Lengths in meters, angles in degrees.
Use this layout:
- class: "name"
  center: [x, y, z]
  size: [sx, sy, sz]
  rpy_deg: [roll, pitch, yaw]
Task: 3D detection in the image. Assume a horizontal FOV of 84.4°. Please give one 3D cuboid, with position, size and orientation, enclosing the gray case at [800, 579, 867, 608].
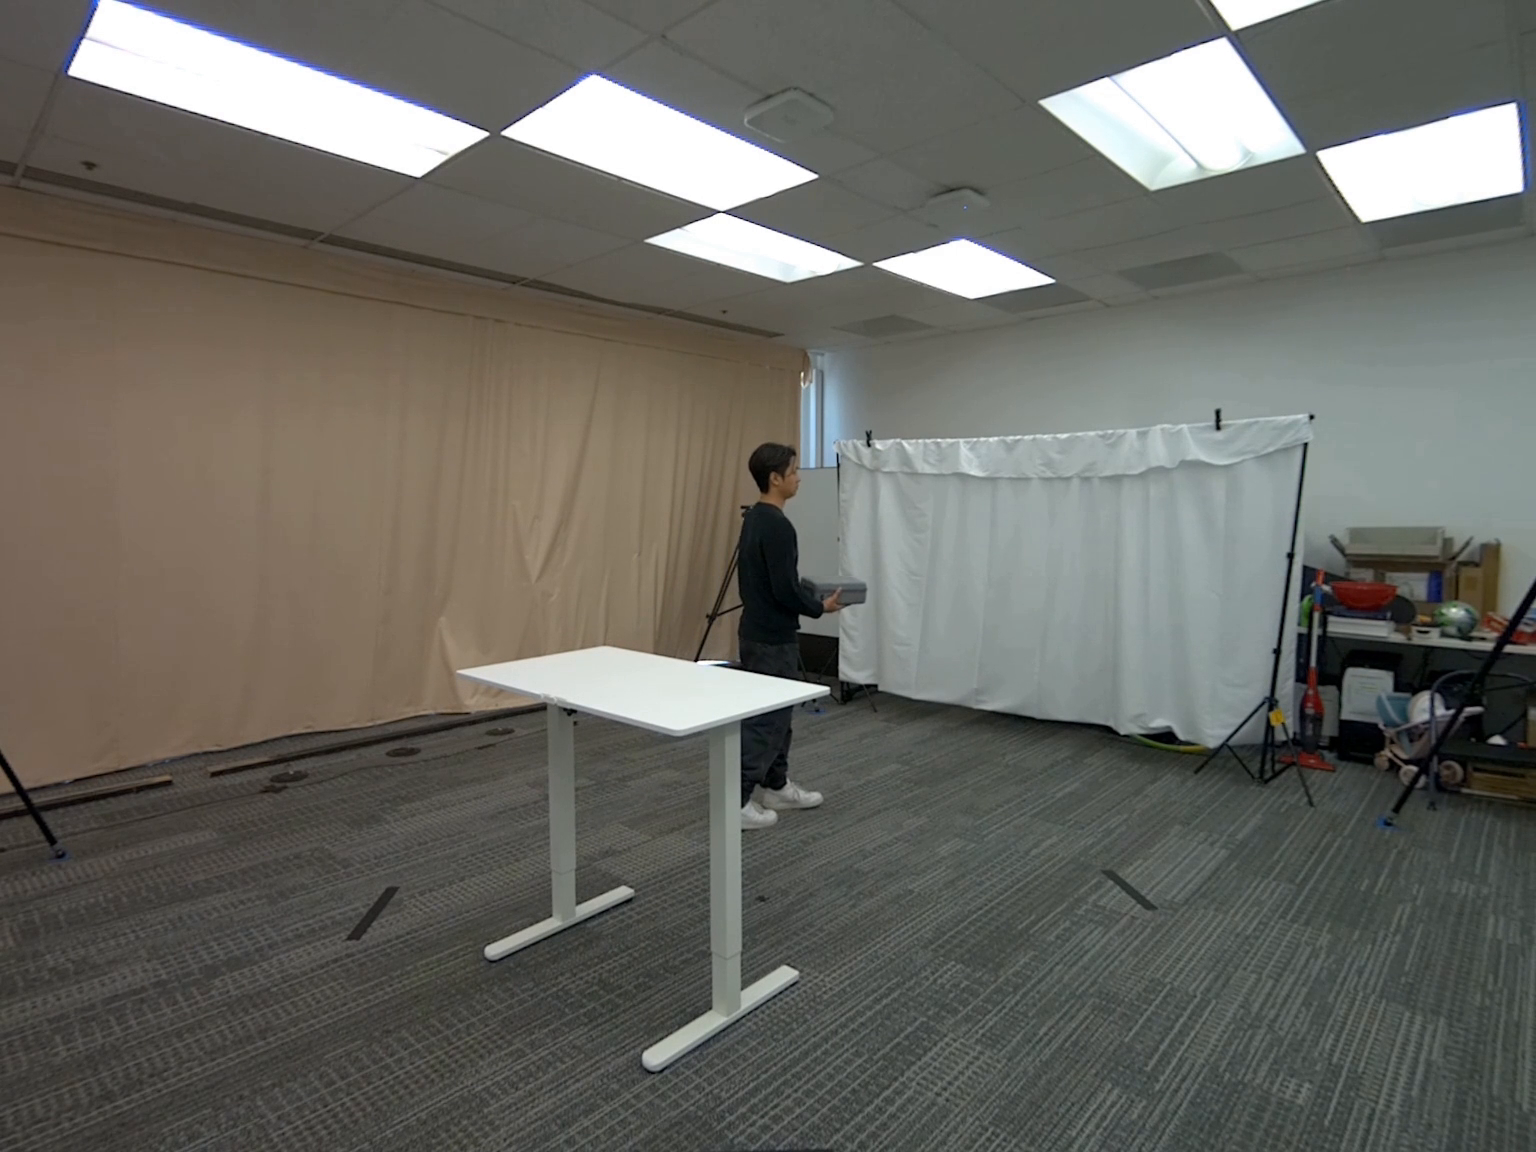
- class: "gray case"
  center: [0.290, 0.059, 3.838]
  size: [0.254, 0.104, 0.265]
  rpy_deg: [-1, 11, -11]
